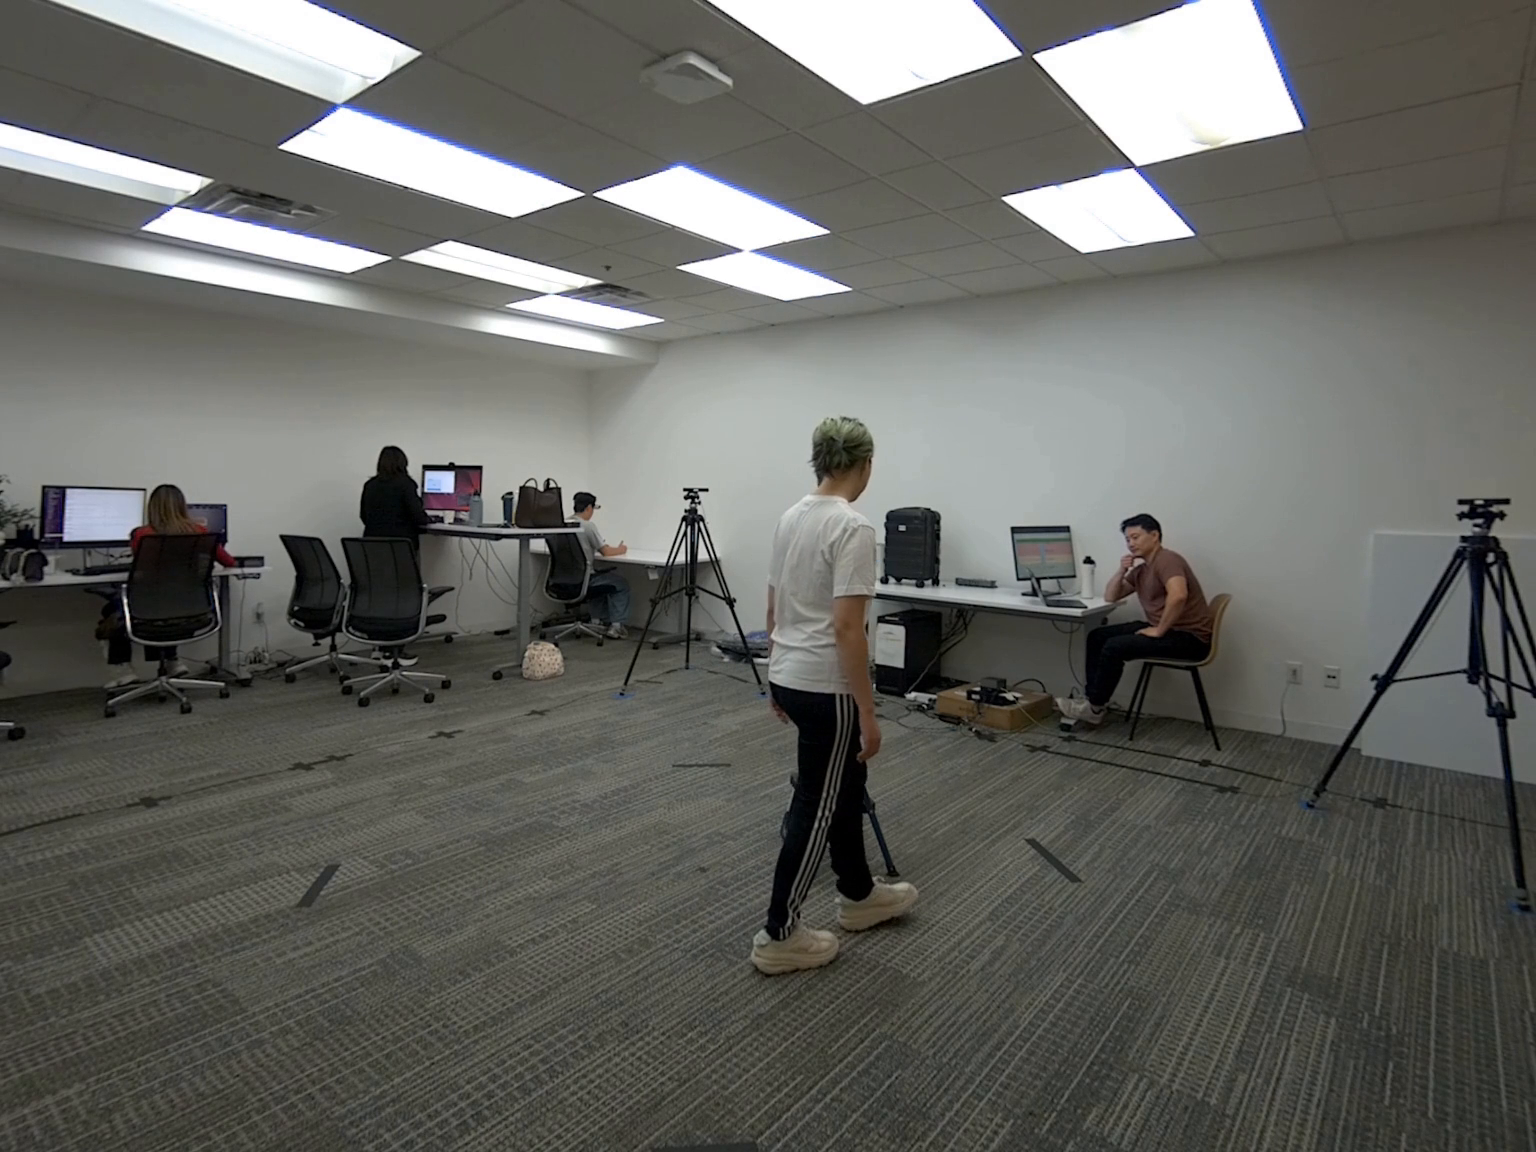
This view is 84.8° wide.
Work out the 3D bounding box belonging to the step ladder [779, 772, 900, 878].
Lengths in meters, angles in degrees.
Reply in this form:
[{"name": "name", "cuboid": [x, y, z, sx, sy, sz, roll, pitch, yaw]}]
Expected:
[{"name": "step ladder", "cuboid": [0.264, 0.762, 3.253, 0.345, 0.604, 0.437, 1, 4, -12]}]
